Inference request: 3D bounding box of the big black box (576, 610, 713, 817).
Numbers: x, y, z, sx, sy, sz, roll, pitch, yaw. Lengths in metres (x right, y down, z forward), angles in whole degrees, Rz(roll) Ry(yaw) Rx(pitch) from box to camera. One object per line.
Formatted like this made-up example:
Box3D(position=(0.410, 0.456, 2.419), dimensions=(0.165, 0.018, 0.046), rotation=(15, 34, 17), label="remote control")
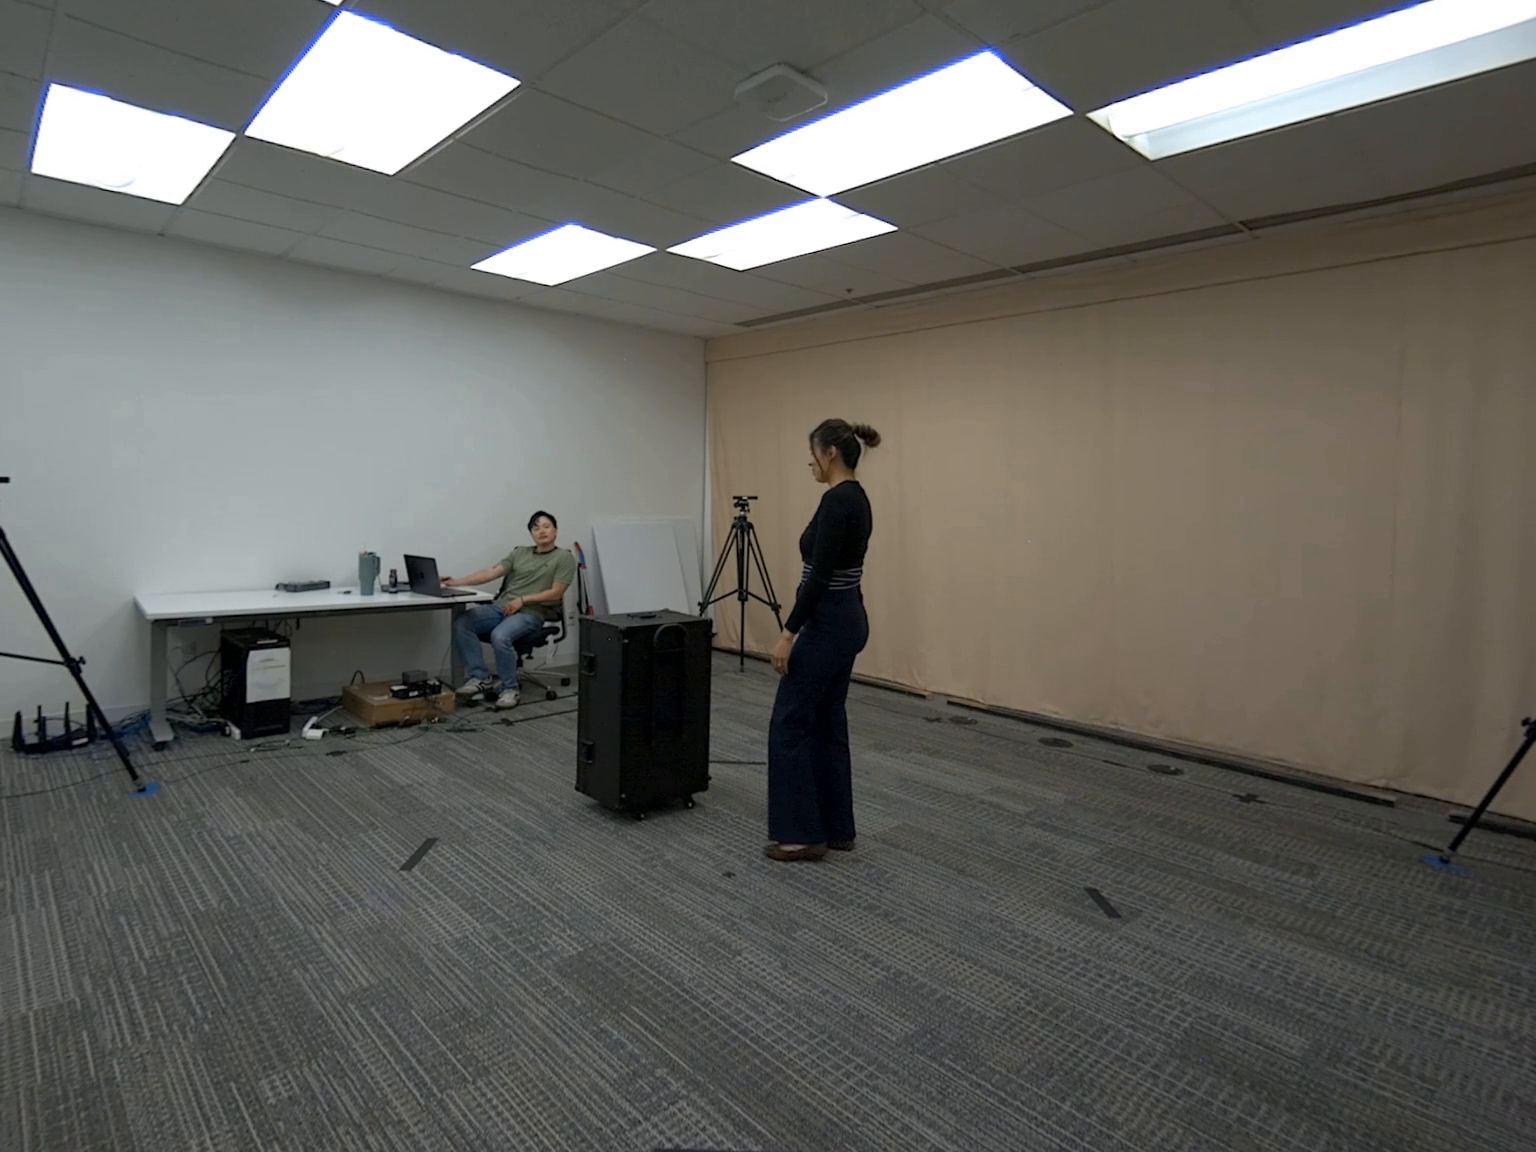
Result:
Box3D(position=(-0.552, 0.611, 3.761), dimensions=(0.509, 0.859, 0.406), rotation=(-2, 6, -41), label="big black box")
